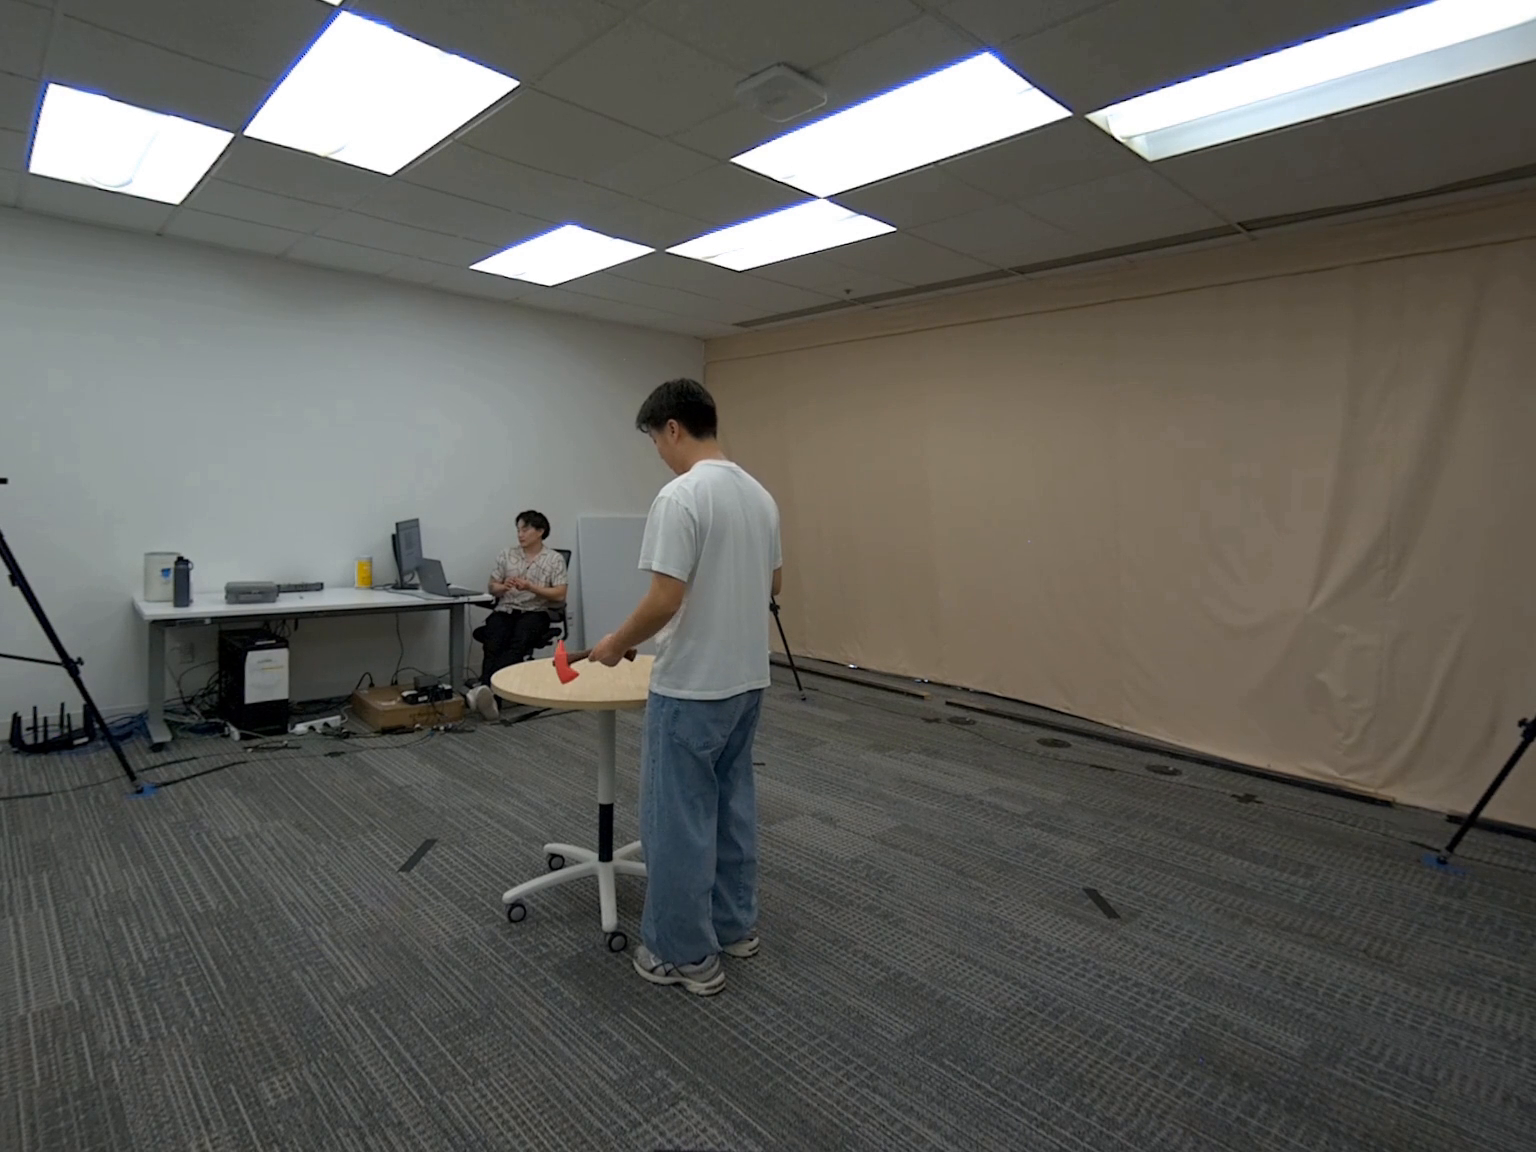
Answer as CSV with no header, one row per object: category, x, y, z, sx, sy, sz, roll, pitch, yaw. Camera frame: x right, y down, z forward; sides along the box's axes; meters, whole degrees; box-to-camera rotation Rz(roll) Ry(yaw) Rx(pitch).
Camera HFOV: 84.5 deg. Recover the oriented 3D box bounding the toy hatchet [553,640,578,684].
toy hatchet,-0.501,0.217,2.485,0.275,0.132,0.029,4,-17,25
